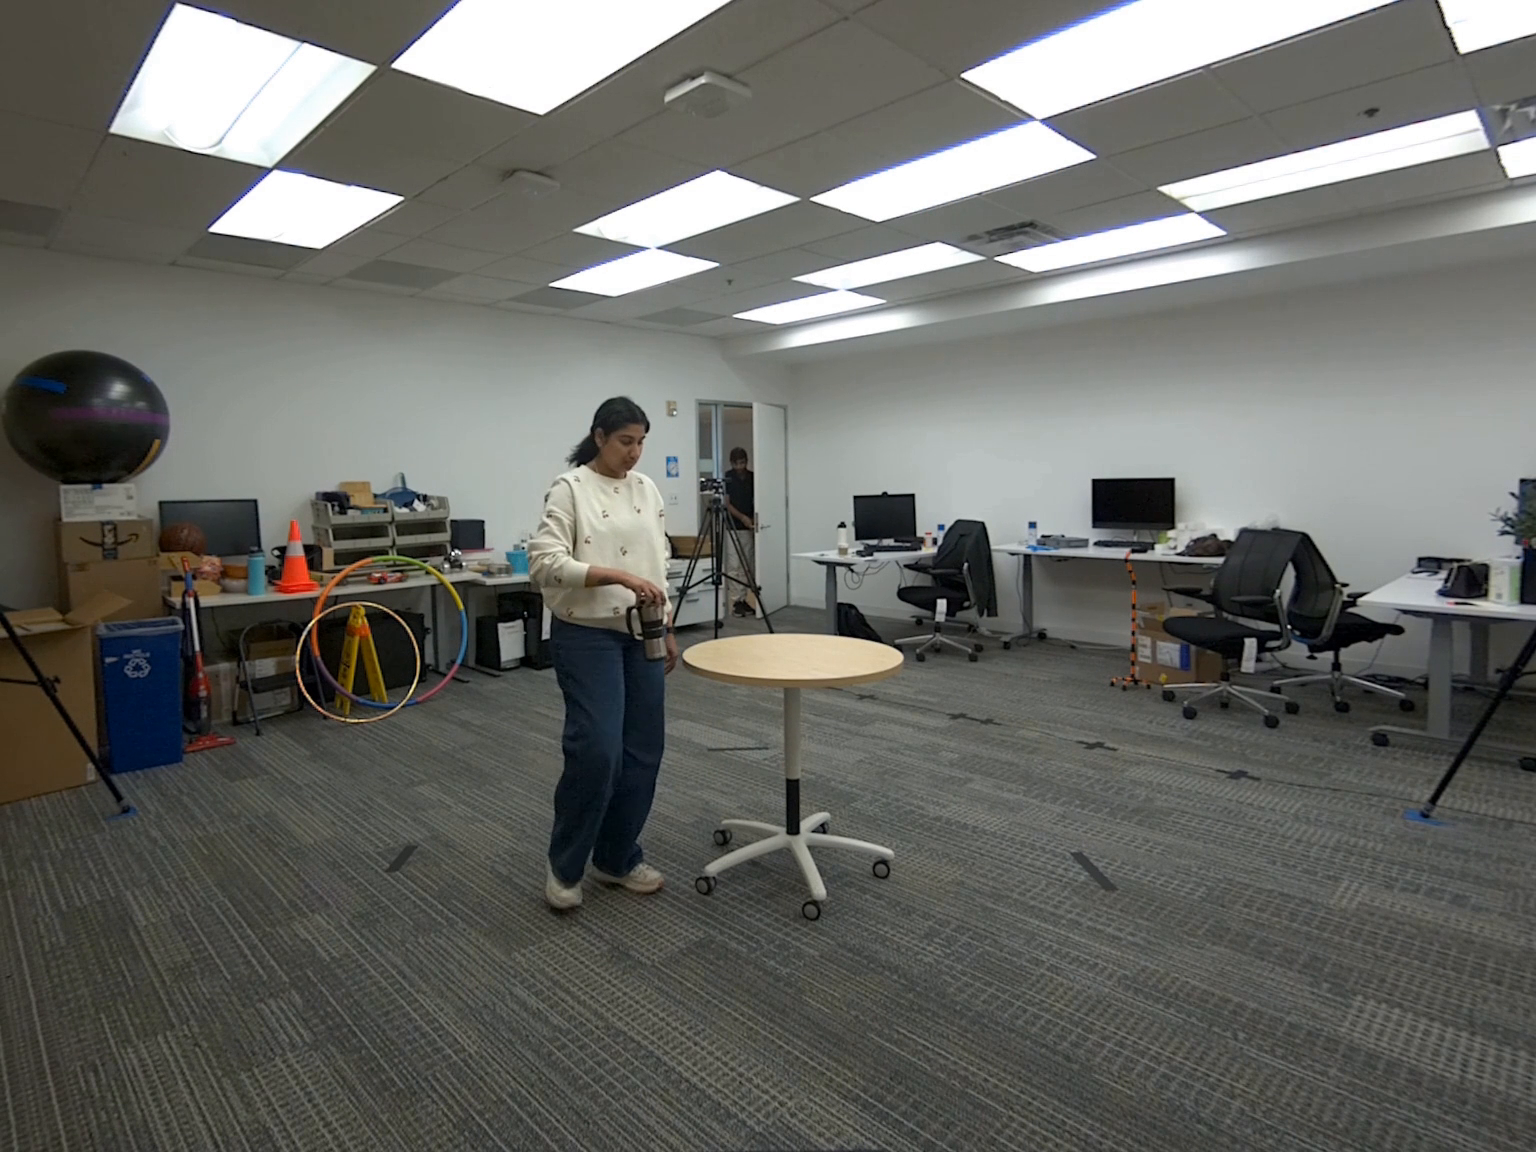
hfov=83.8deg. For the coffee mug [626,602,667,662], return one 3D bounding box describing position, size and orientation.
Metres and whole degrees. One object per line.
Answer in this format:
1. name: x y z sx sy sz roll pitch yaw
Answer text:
1. coffee mug: -0.395 0.170 2.721 0.125 0.201 0.086 0 10 42
